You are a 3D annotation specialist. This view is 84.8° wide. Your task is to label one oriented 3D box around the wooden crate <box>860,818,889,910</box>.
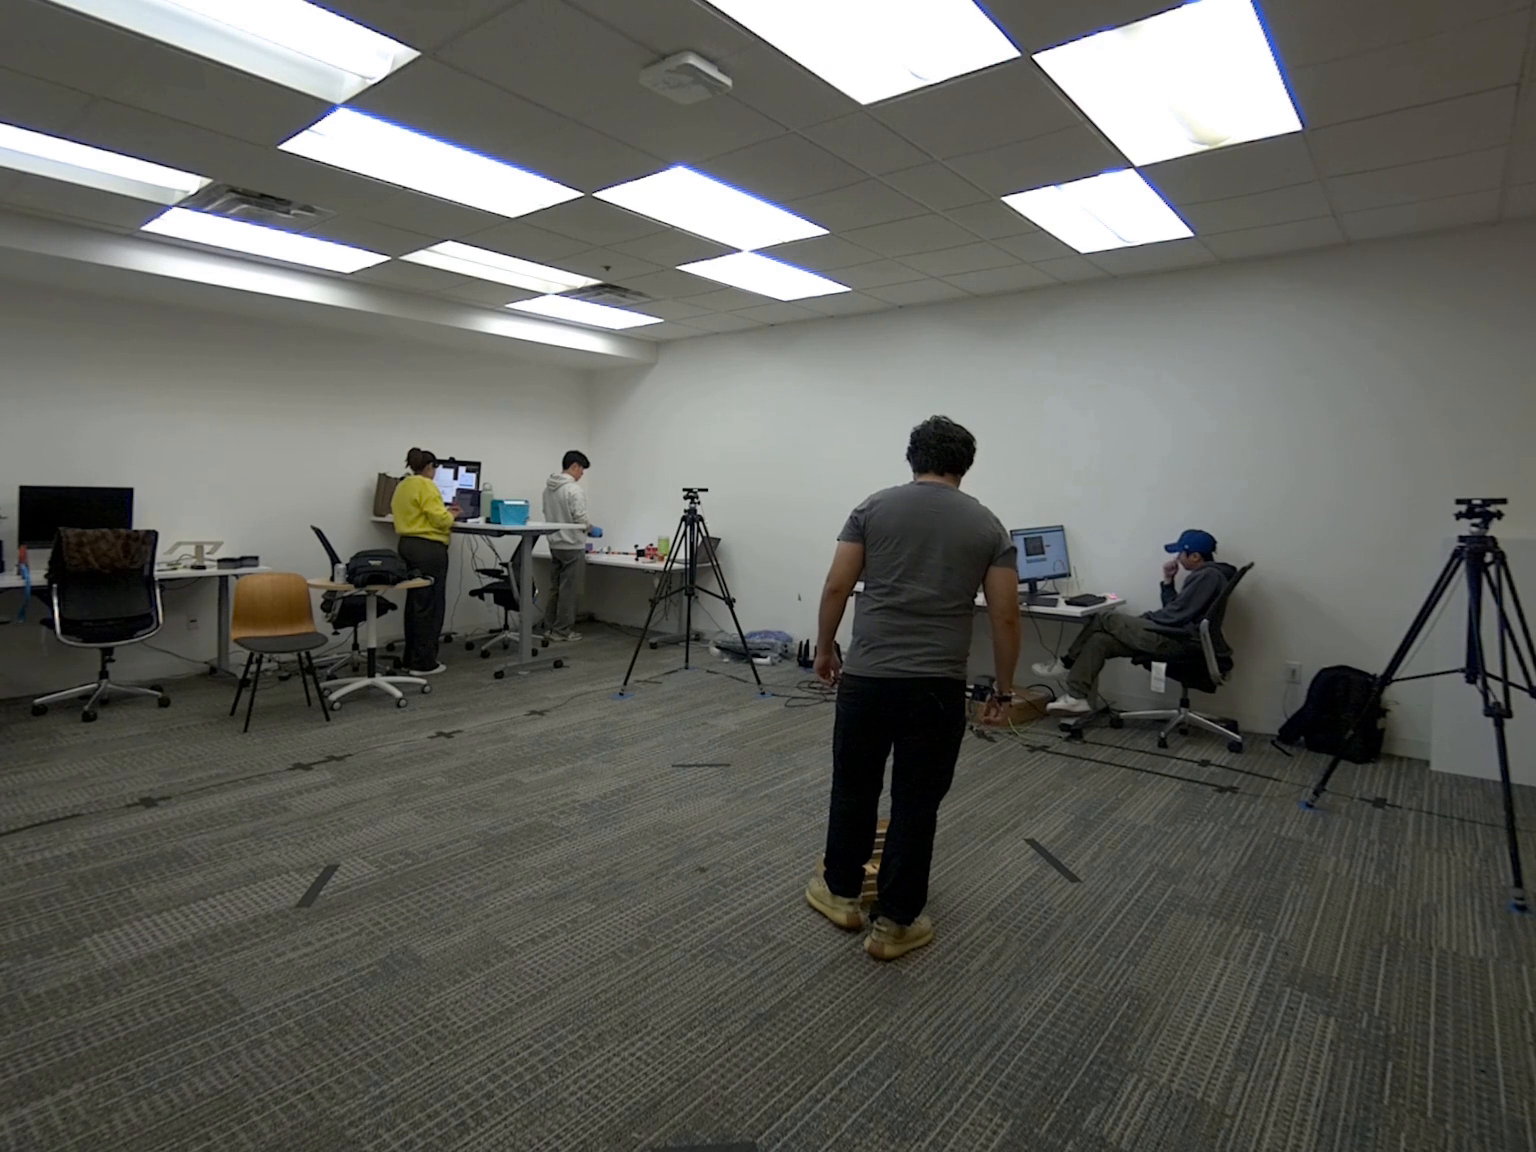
[{"bbox_3d":[0.358,0.952,2.997,0.319,0.272,0.308,0,5,-17],"label":"wooden crate"}]
